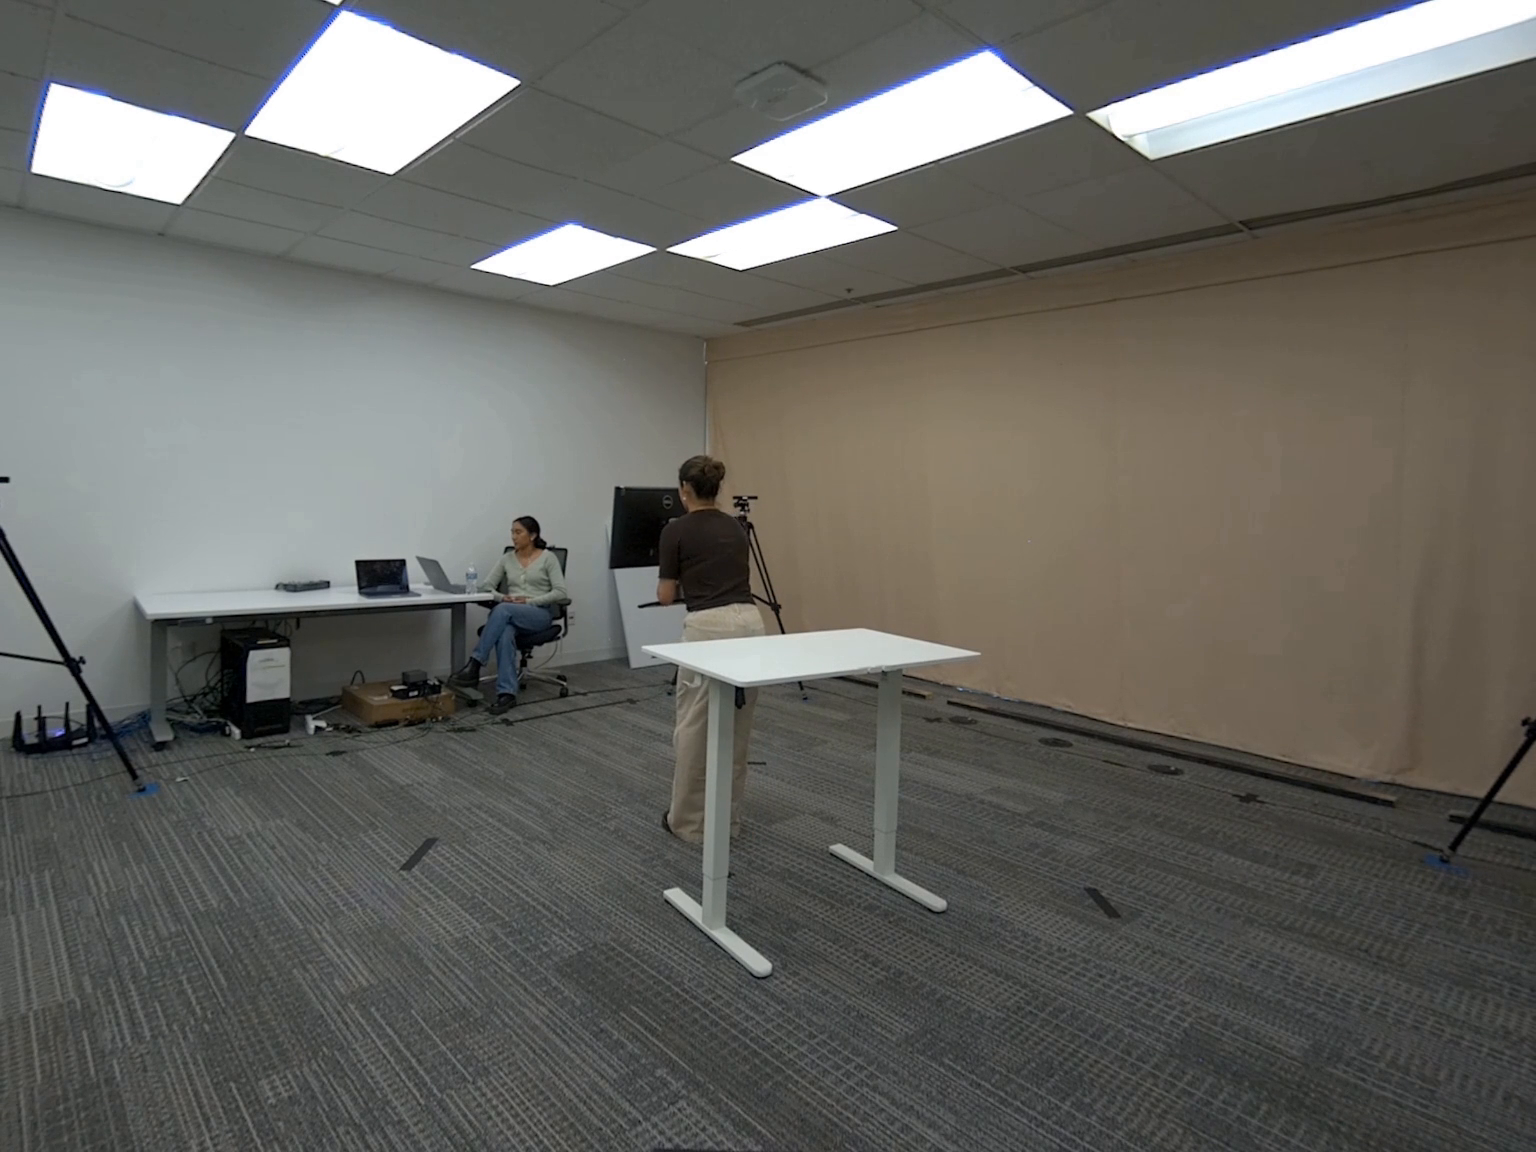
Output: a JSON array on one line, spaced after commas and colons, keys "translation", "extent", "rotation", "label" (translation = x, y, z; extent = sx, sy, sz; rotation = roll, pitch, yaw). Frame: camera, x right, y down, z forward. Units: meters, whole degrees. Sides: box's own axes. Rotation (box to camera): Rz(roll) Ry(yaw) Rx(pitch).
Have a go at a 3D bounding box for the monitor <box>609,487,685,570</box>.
[{"translation": [-0.443, -0.128, 3.690], "extent": [0.191, 0.523, 0.527], "rotation": [-7, -2, 42], "label": "monitor"}]
